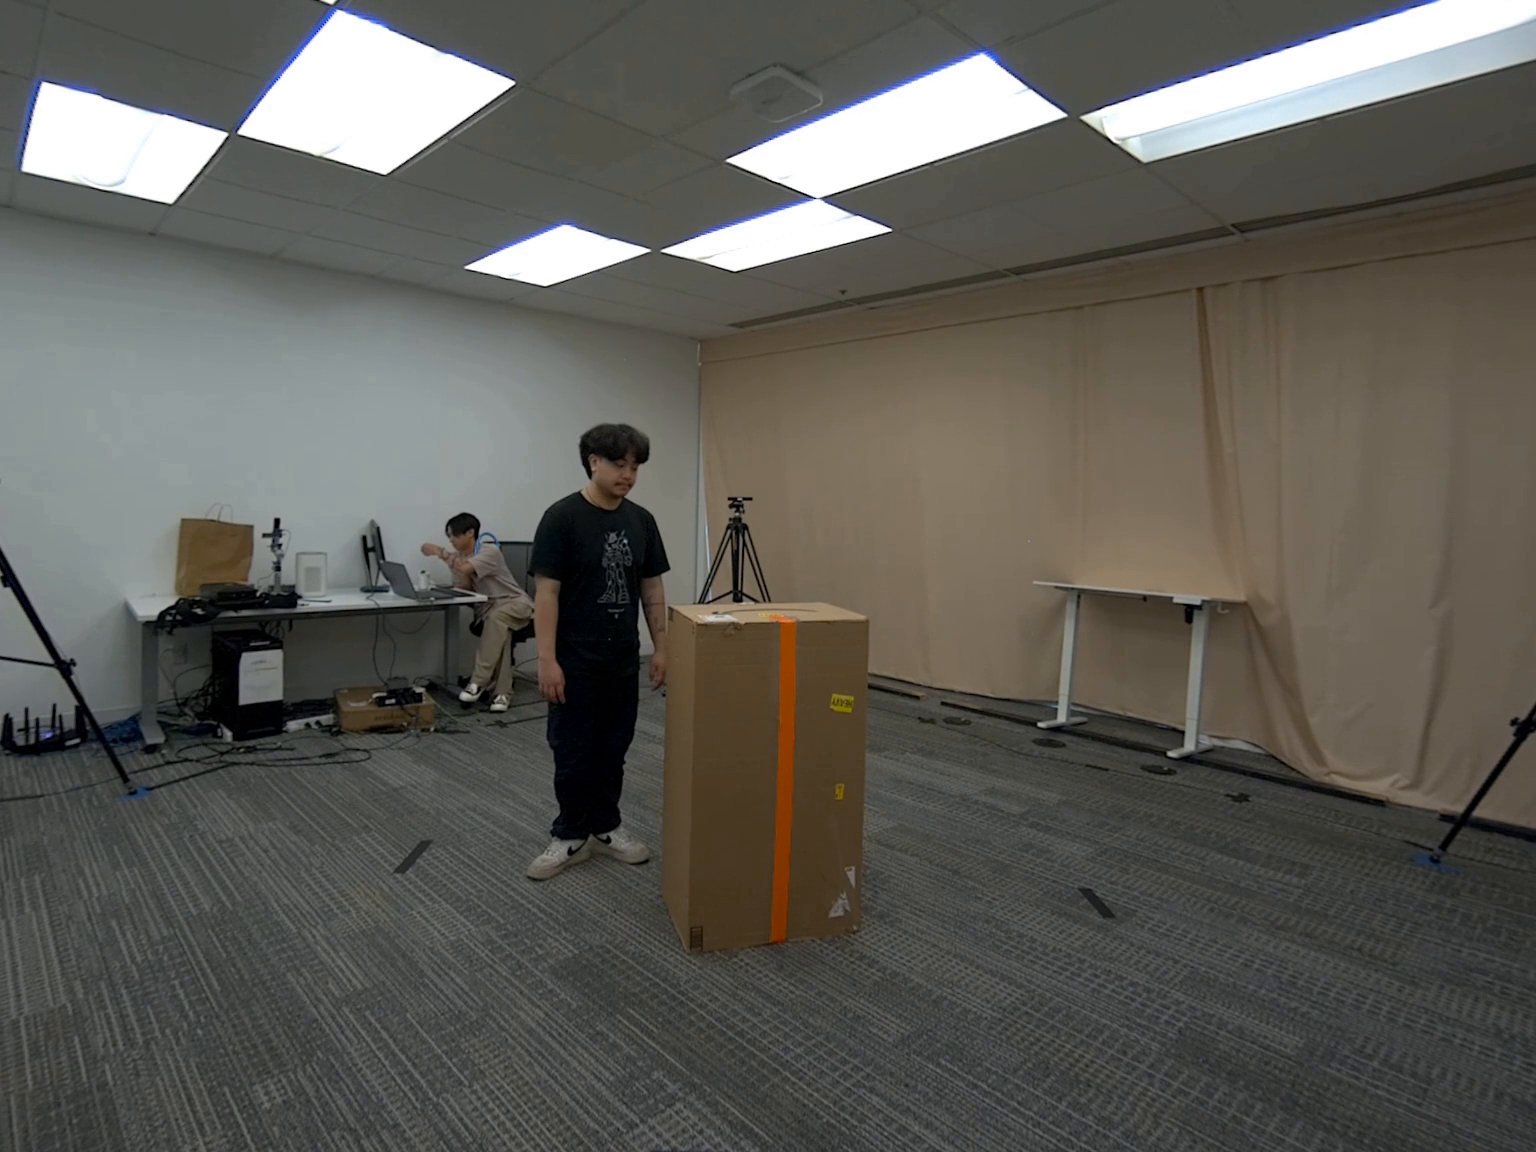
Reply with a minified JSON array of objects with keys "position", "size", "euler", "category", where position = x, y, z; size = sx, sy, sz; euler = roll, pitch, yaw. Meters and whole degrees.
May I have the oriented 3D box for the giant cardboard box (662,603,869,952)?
[{"position":[-0.030,0.624,2.812],"size":[0.576,1.024,0.454],"euler":[0,4,-17],"category":"giant cardboard box"}]
